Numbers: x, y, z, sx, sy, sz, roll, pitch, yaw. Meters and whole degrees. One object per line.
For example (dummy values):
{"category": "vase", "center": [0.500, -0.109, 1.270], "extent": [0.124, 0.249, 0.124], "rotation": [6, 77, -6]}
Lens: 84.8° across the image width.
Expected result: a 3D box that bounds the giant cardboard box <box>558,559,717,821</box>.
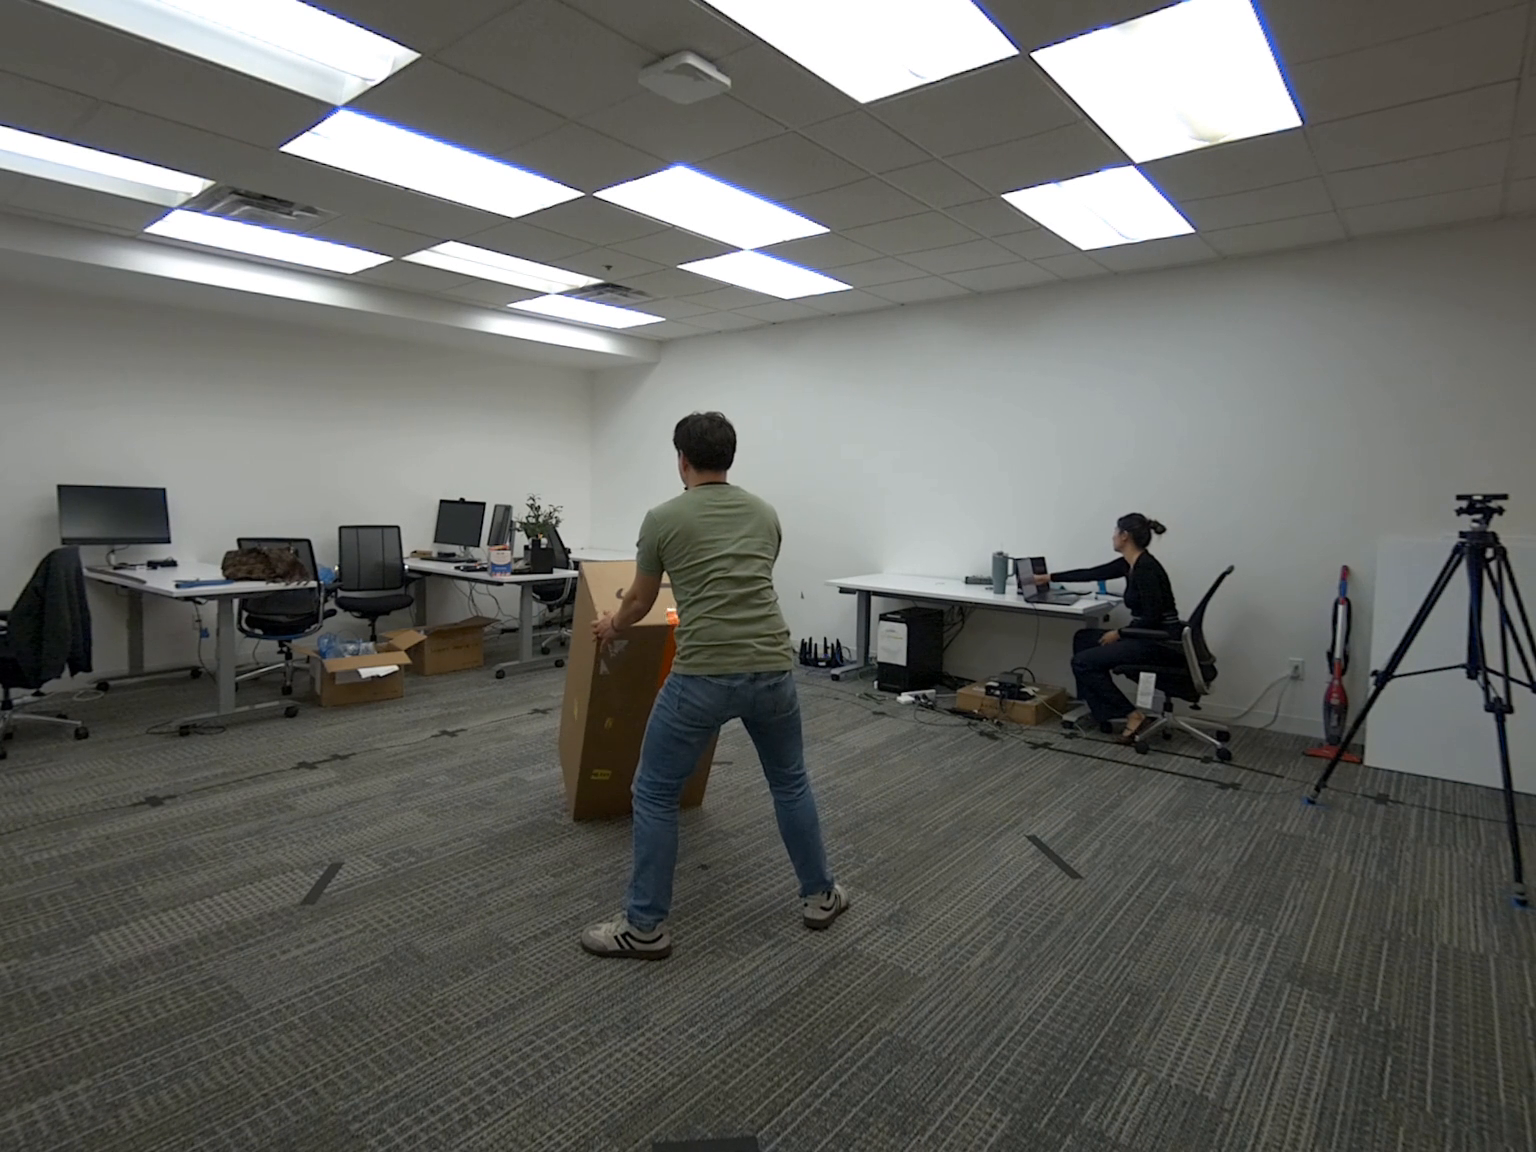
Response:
{"category": "giant cardboard box", "center": [-0.532, 0.478, 3.542], "extent": [0.565, 1.007, 0.443], "rotation": [0, 34, -23]}
